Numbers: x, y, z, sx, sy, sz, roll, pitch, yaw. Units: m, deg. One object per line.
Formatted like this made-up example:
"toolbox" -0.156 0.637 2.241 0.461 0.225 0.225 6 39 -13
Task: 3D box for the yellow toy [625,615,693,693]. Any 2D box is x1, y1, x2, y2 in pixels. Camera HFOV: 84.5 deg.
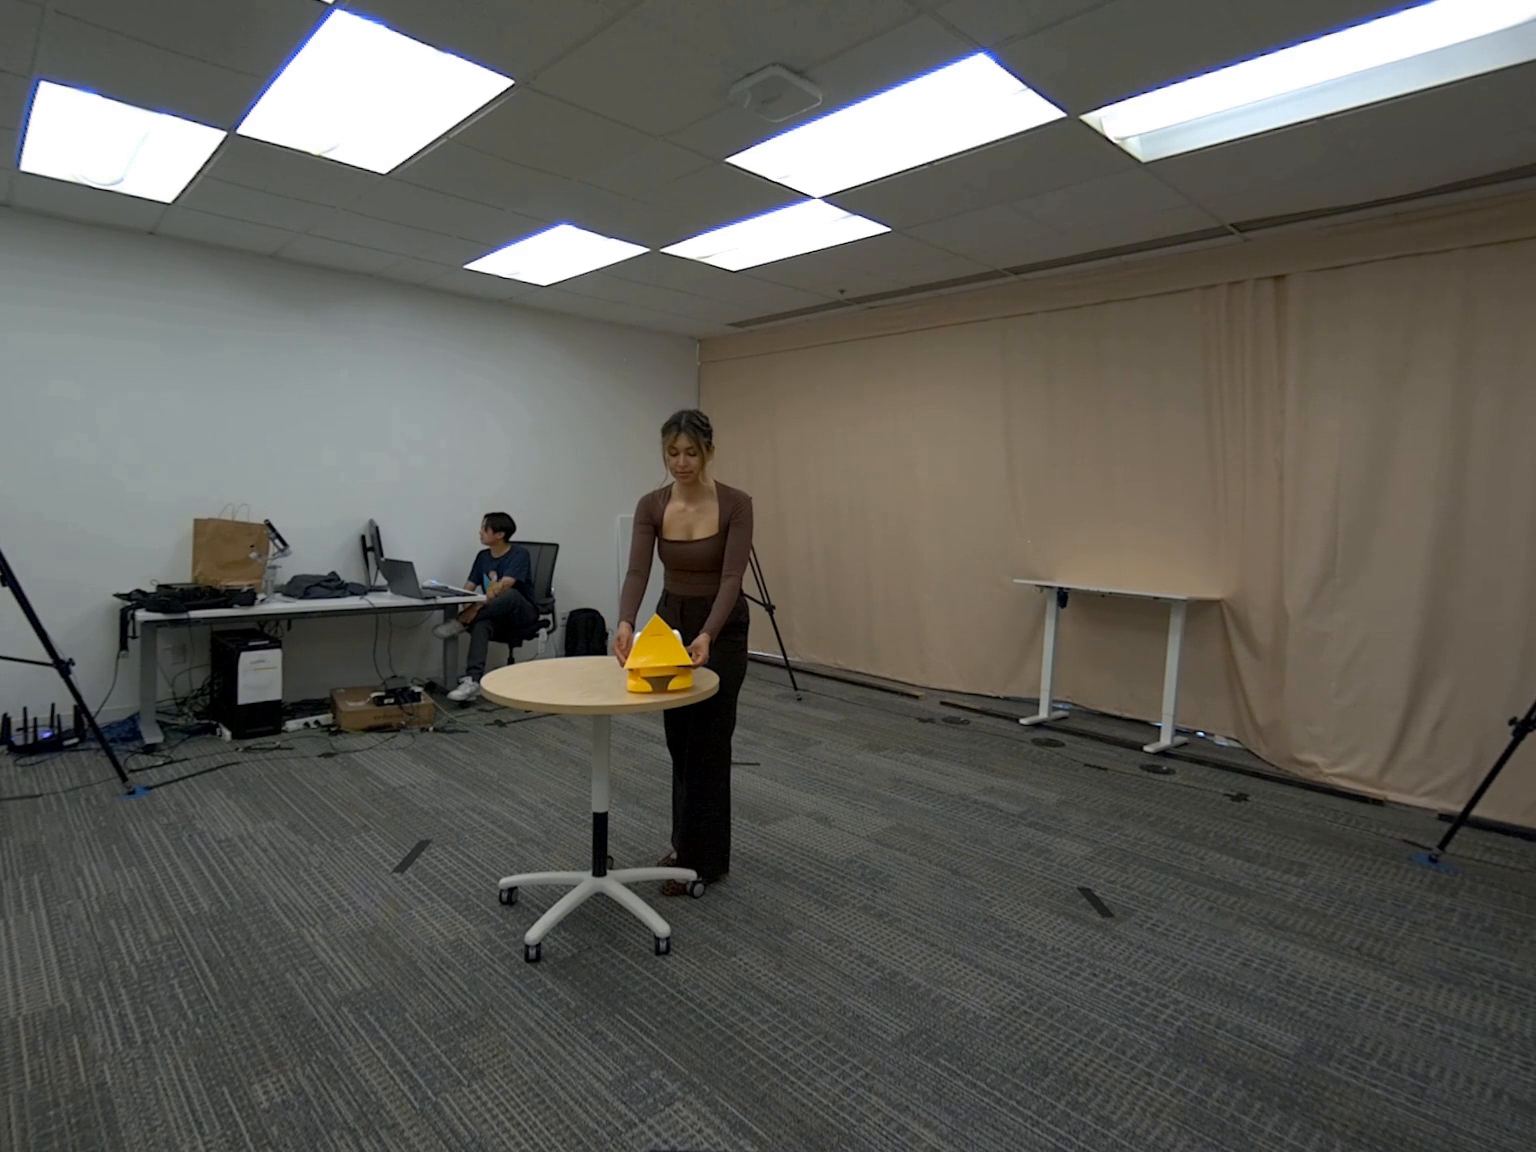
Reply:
"yellow toy" -0.350 0.223 2.566 0.204 0.230 0.194 -3 5 -6
